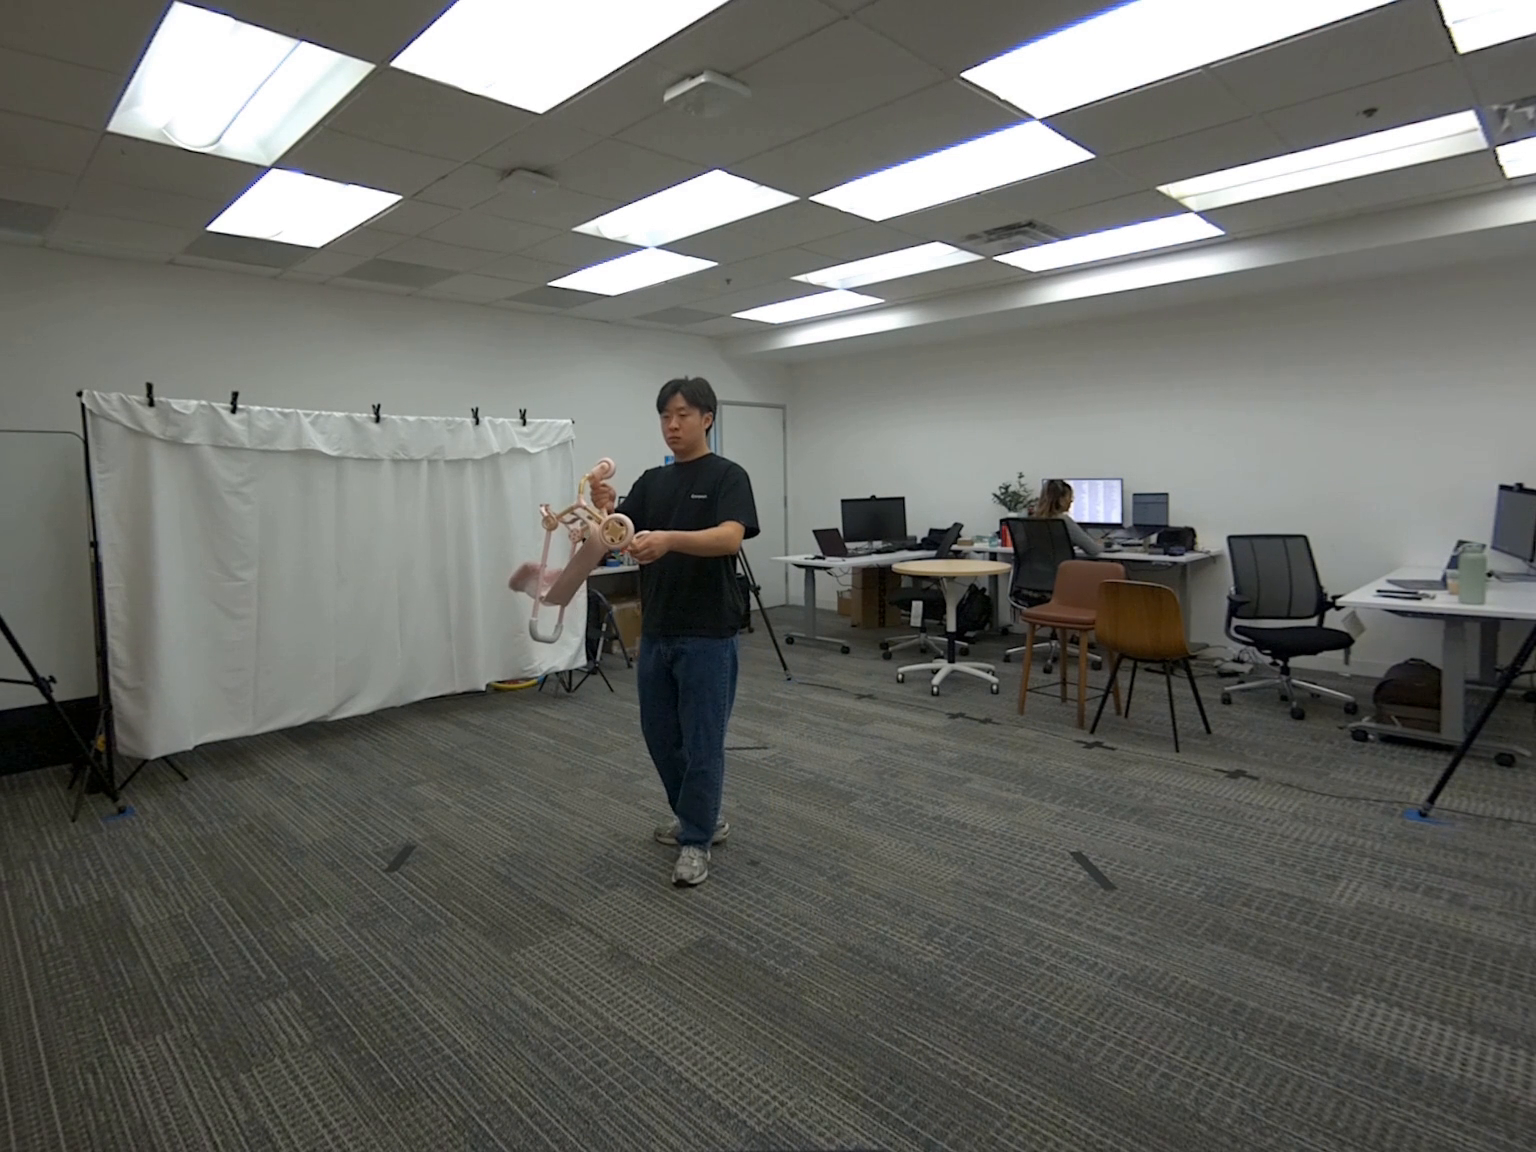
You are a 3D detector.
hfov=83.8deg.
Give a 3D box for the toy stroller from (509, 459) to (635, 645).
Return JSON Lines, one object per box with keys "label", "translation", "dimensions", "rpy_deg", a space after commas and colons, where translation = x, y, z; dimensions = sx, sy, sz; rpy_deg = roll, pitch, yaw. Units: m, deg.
{"label": "toy stroller", "translation": [-0.612, -0.085, 2.687], "dimensions": [0.535, 0.347, 0.277], "rpy_deg": [-42, -11, 5]}
